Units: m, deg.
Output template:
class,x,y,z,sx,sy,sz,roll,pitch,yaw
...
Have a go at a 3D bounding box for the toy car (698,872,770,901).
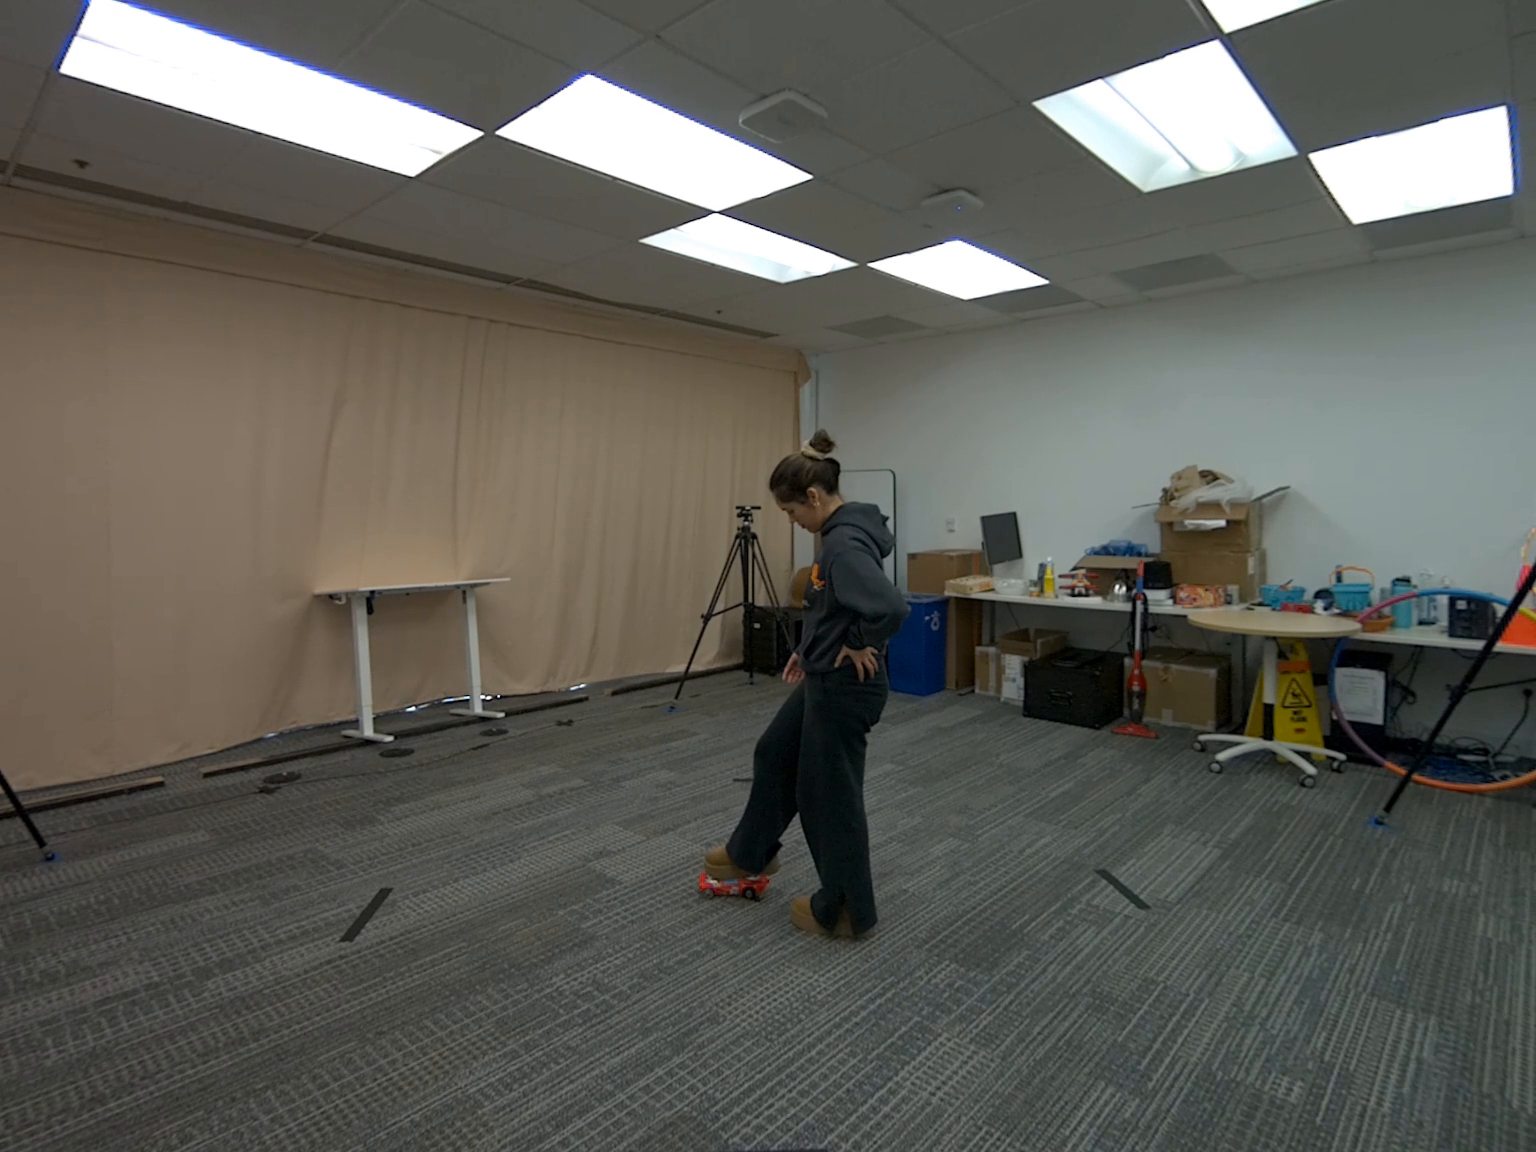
class,x,y,z,sx,sy,sz,roll,pitch,yaw
toy car,-0.092,1.106,3.033,0.256,0.082,0.131,-12,13,5
